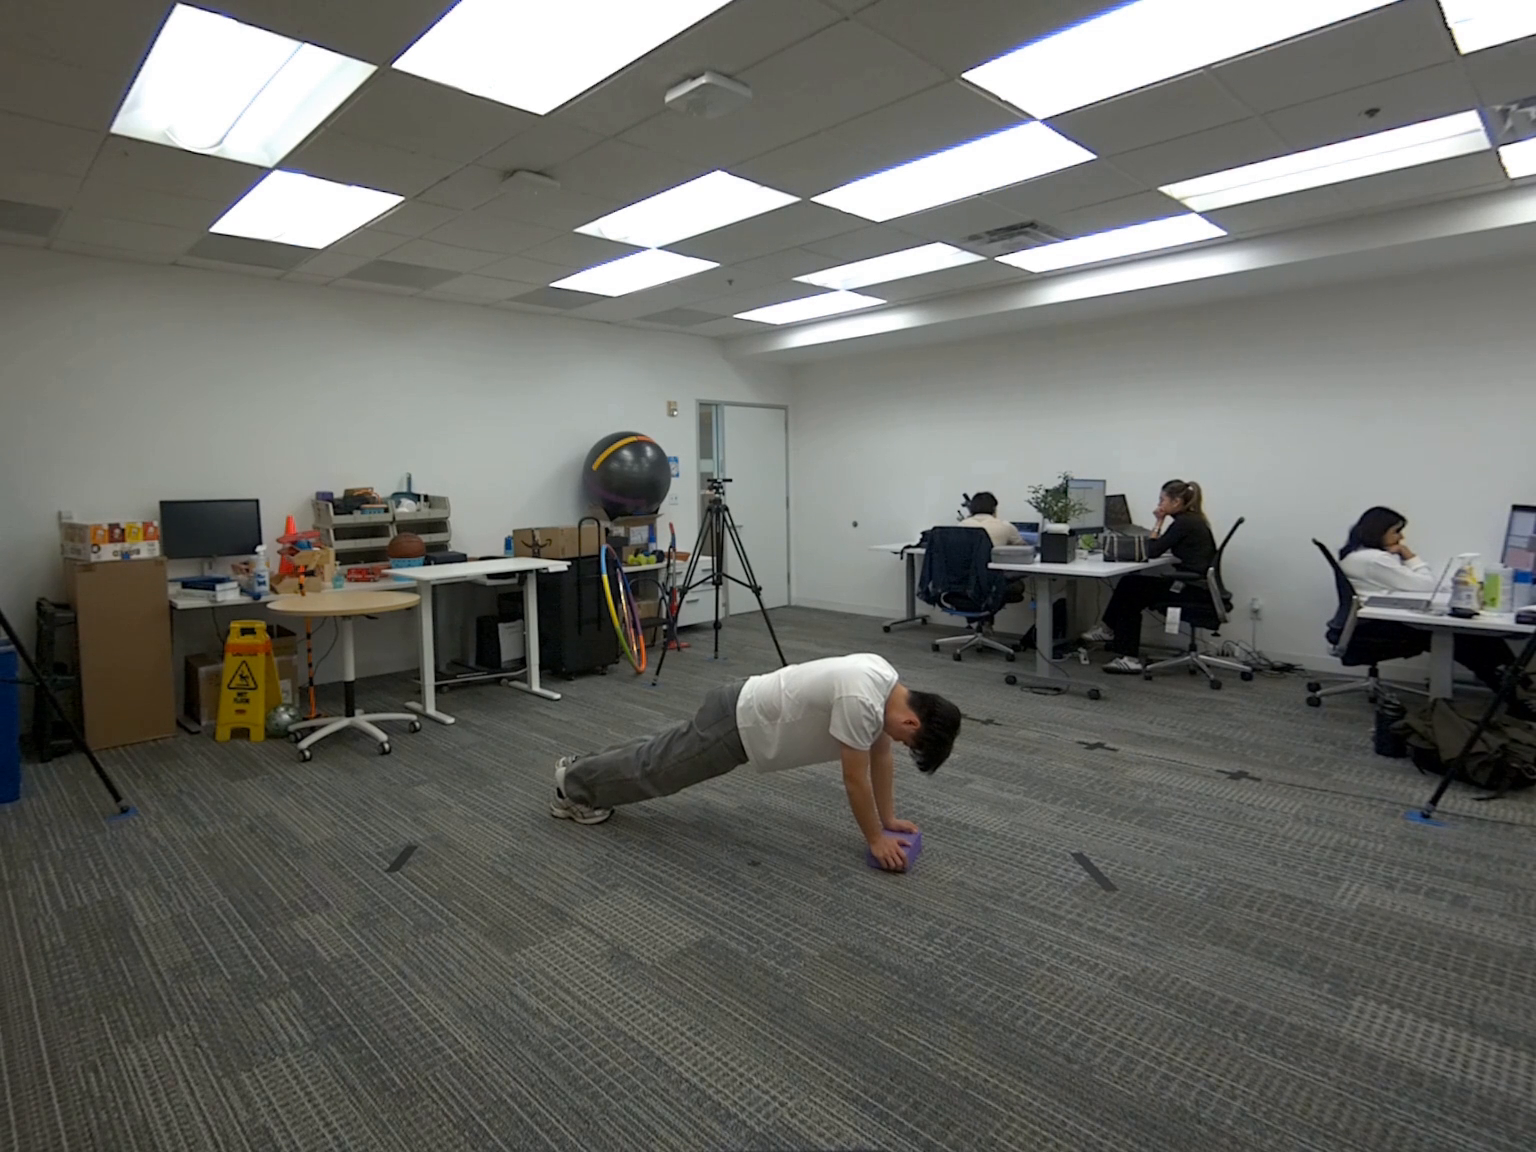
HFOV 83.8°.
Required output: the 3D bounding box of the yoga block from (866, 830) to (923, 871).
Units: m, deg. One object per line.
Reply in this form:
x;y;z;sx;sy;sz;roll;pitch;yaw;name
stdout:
0.469;1.001;3.139;0.153;0.076;0.225;4;7;27;yoga block
